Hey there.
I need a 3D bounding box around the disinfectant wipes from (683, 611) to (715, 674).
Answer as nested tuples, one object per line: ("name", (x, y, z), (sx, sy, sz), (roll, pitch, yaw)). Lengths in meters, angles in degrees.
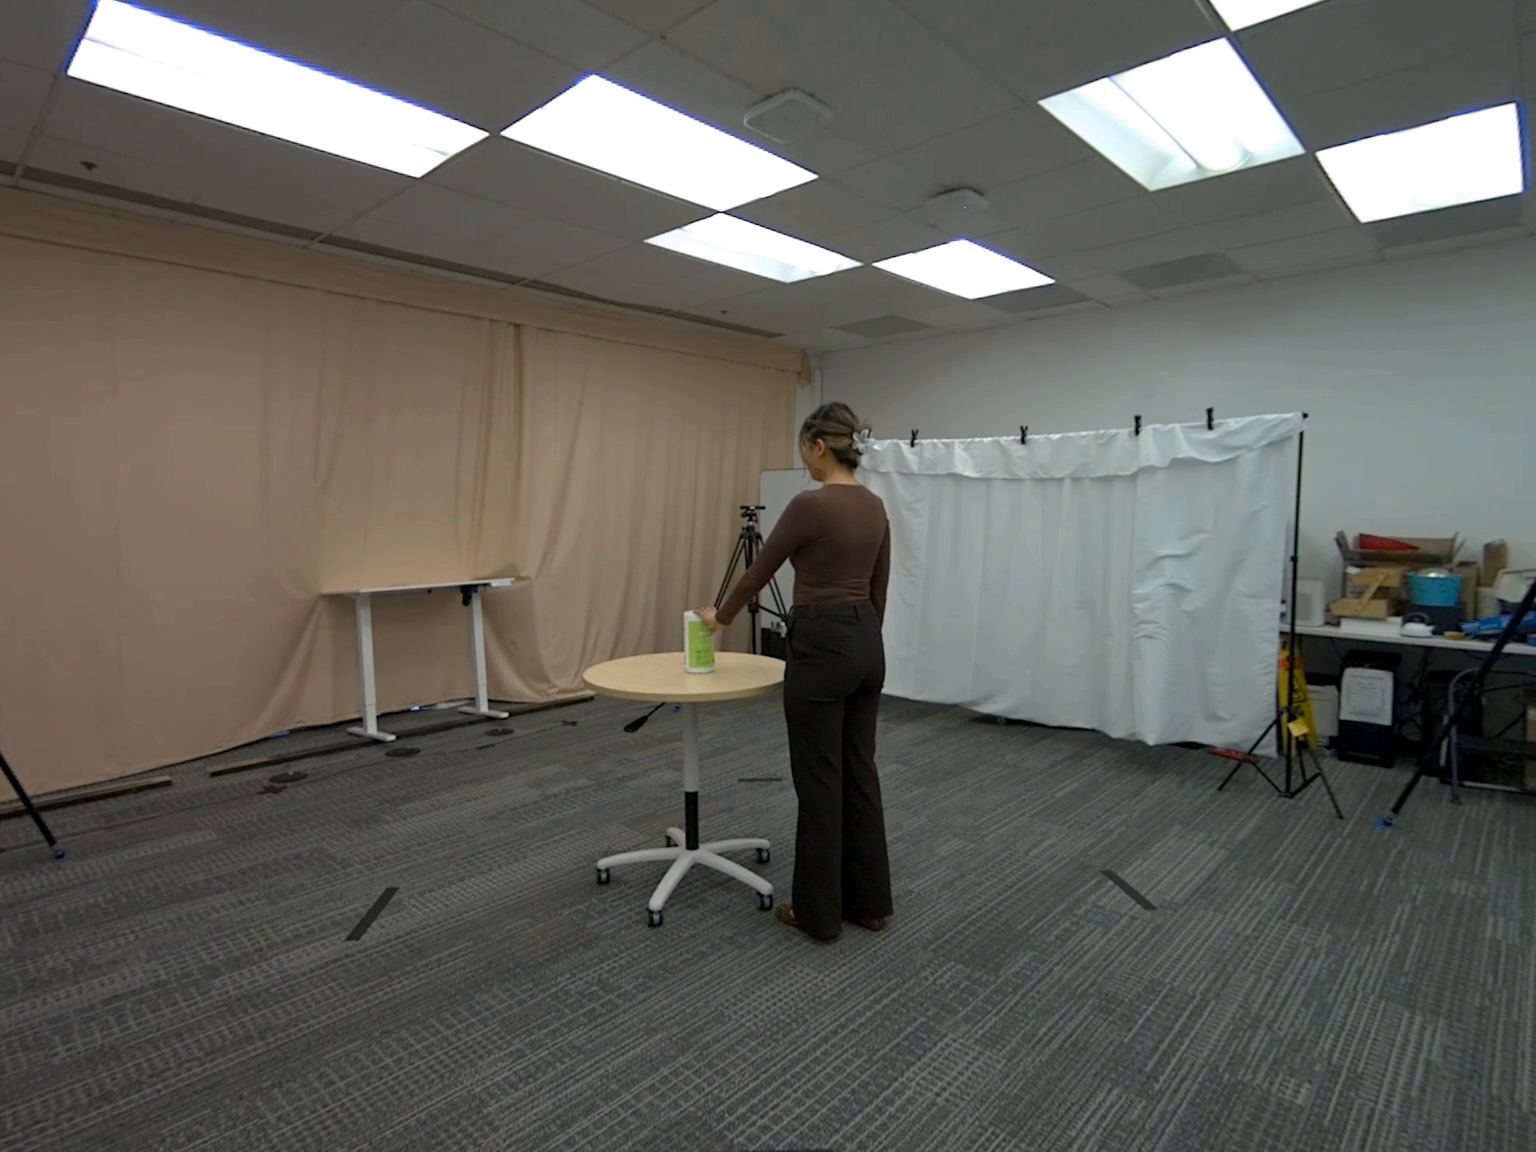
("disinfectant wipes", (-0.249, 0.238, 3.032), (0.118, 0.217, 0.118), (0, 5, -2))
